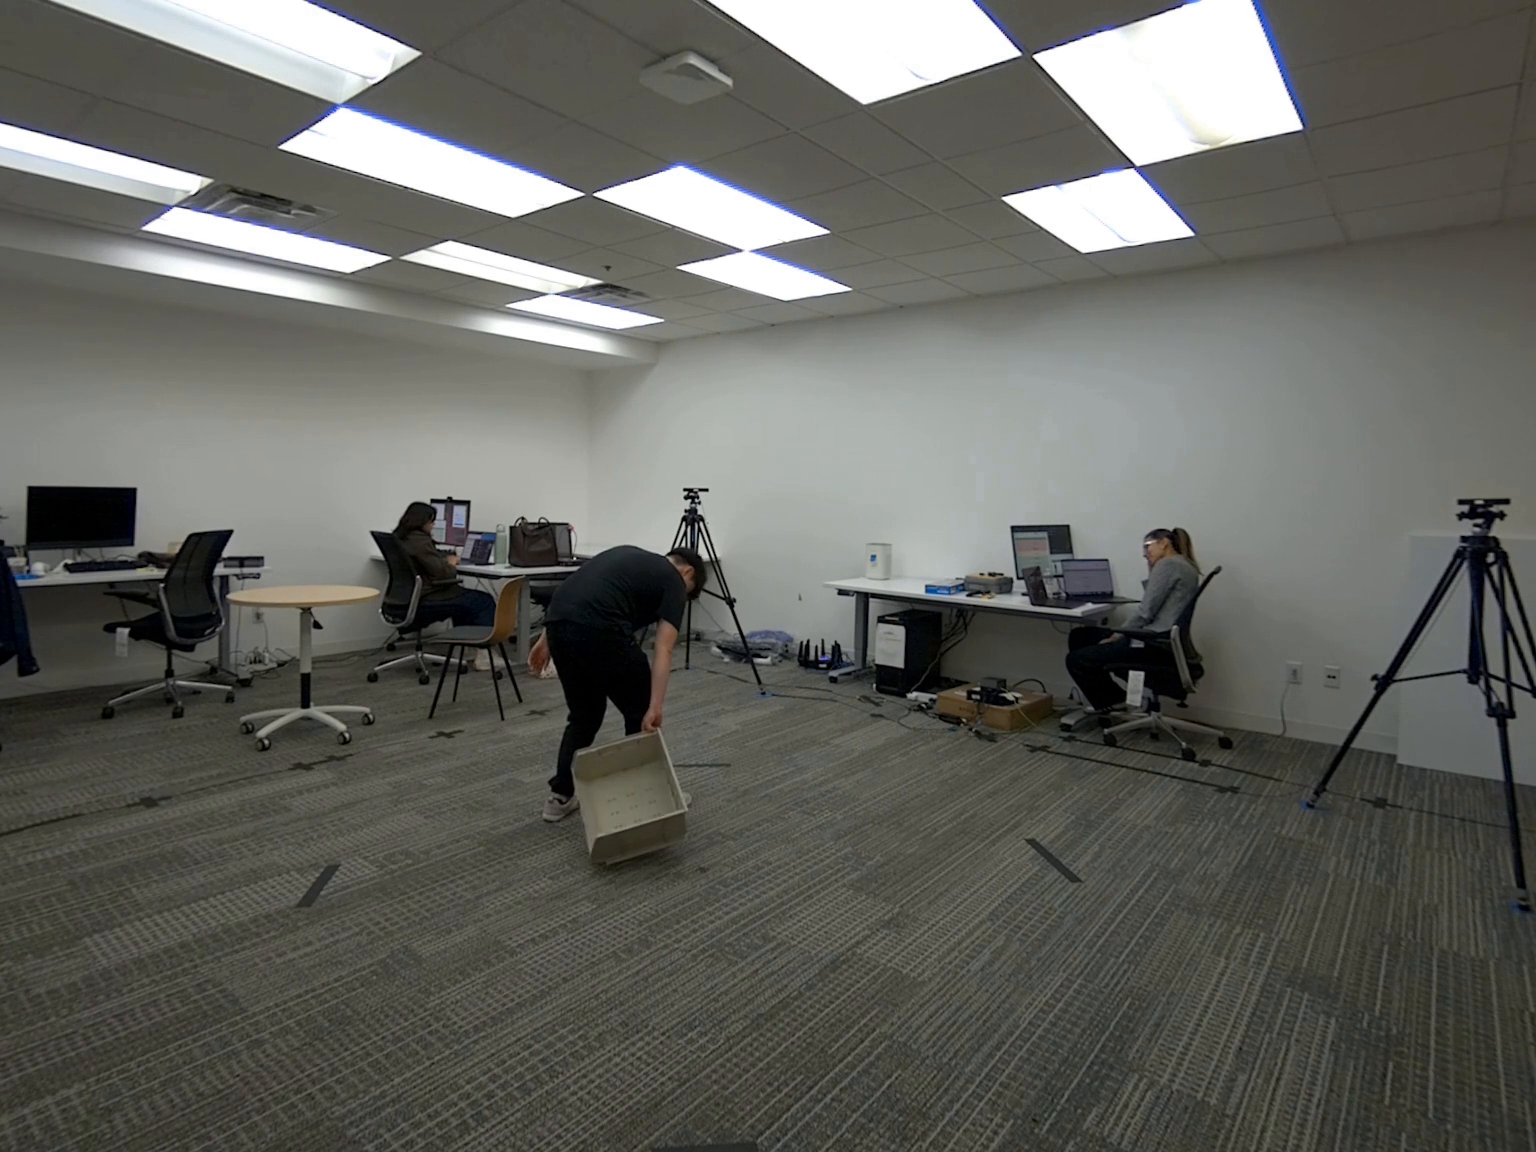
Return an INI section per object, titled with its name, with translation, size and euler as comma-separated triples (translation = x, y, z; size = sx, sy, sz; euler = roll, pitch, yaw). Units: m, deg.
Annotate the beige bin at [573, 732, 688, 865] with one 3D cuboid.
[beige bin]
translation = -0.549, 0.840, 3.275
size = 0.373, 0.183, 0.439
euler = -13, 38, -14
